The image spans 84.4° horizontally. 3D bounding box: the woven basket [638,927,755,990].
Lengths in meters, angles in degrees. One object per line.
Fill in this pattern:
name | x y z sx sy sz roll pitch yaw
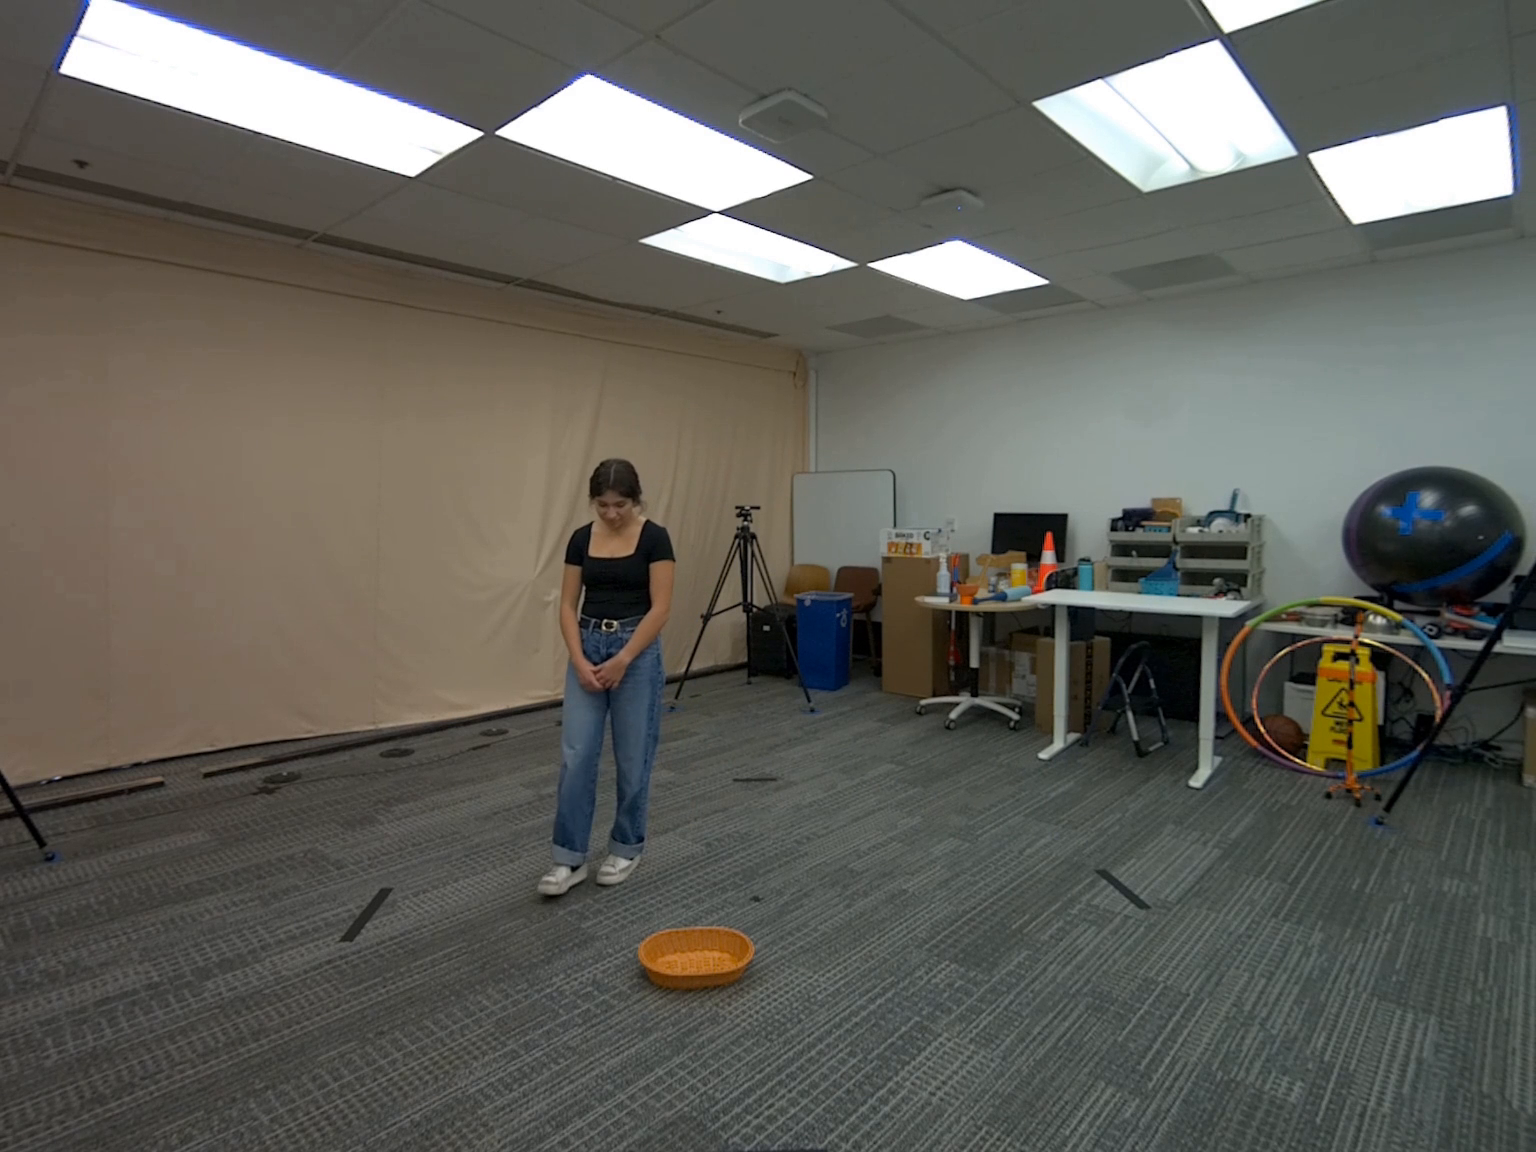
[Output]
woven basket | -0.211 1.148 2.511 0.348 0.073 0.255 0 6 -6
